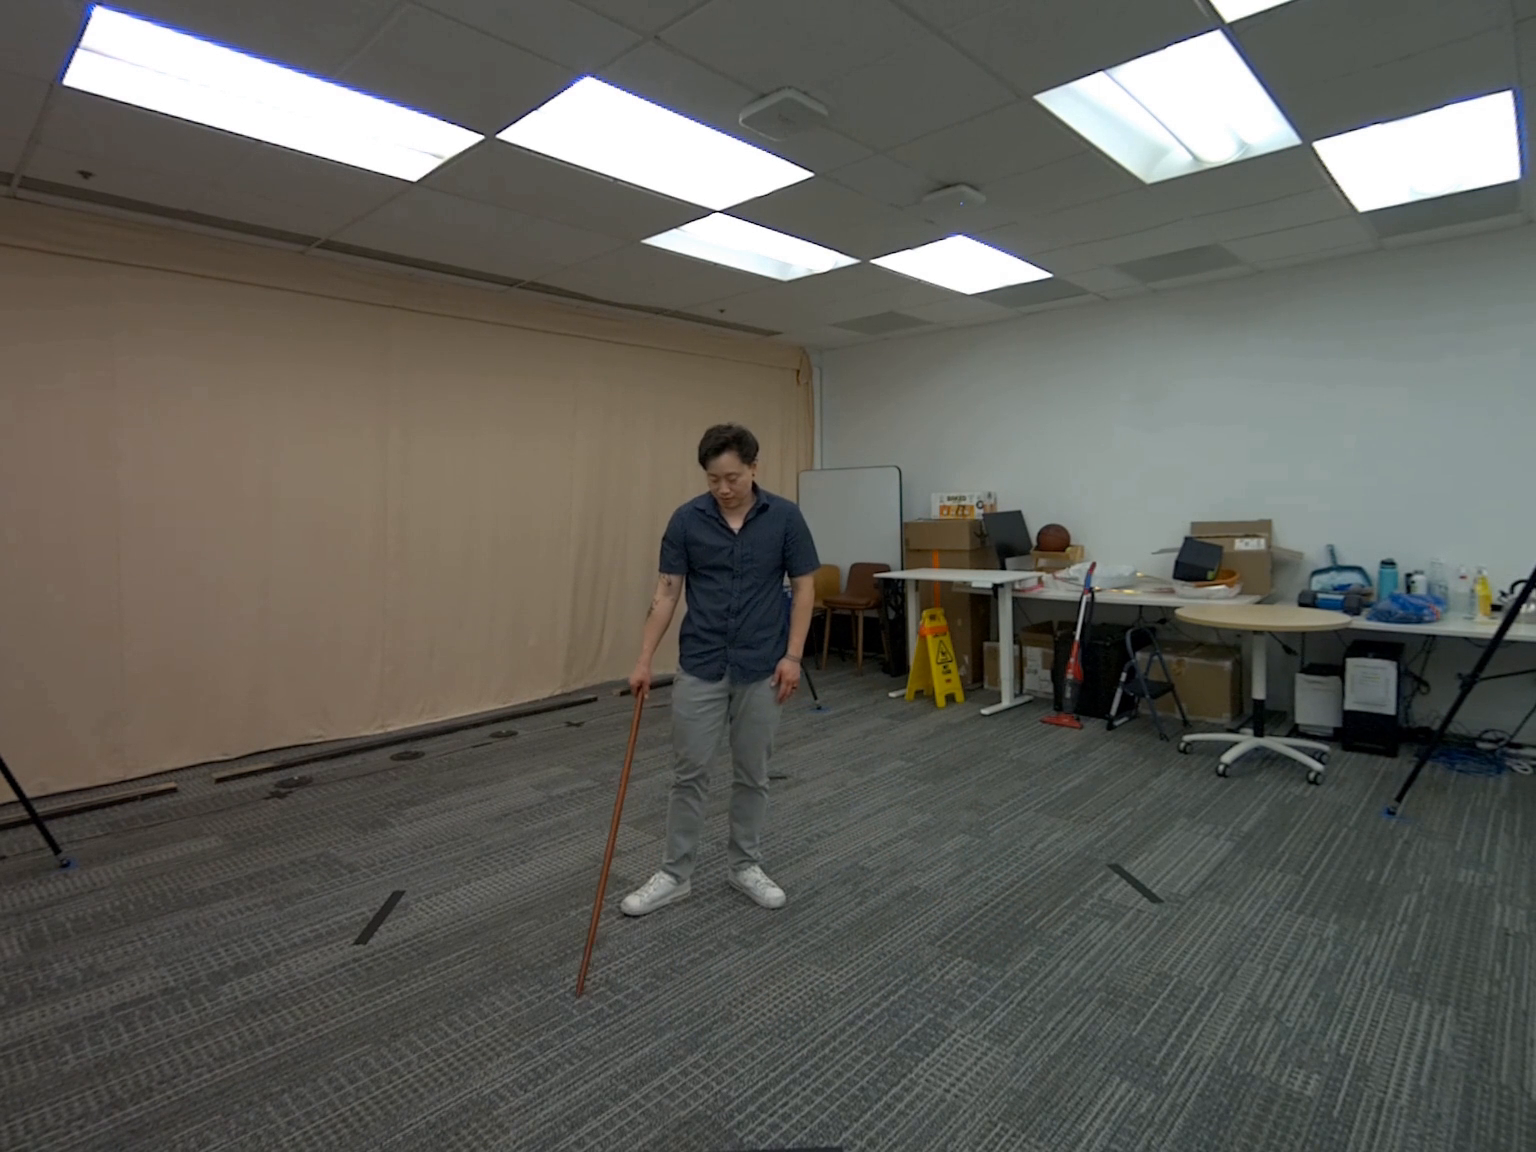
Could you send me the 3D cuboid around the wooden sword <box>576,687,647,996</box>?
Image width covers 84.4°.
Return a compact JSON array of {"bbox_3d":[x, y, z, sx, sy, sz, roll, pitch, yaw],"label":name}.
[{"bbox_3d":[-0.469,0.779,2.679,0.050,1.037,0.024,30,-39,-29],"label":"wooden sword"}]
